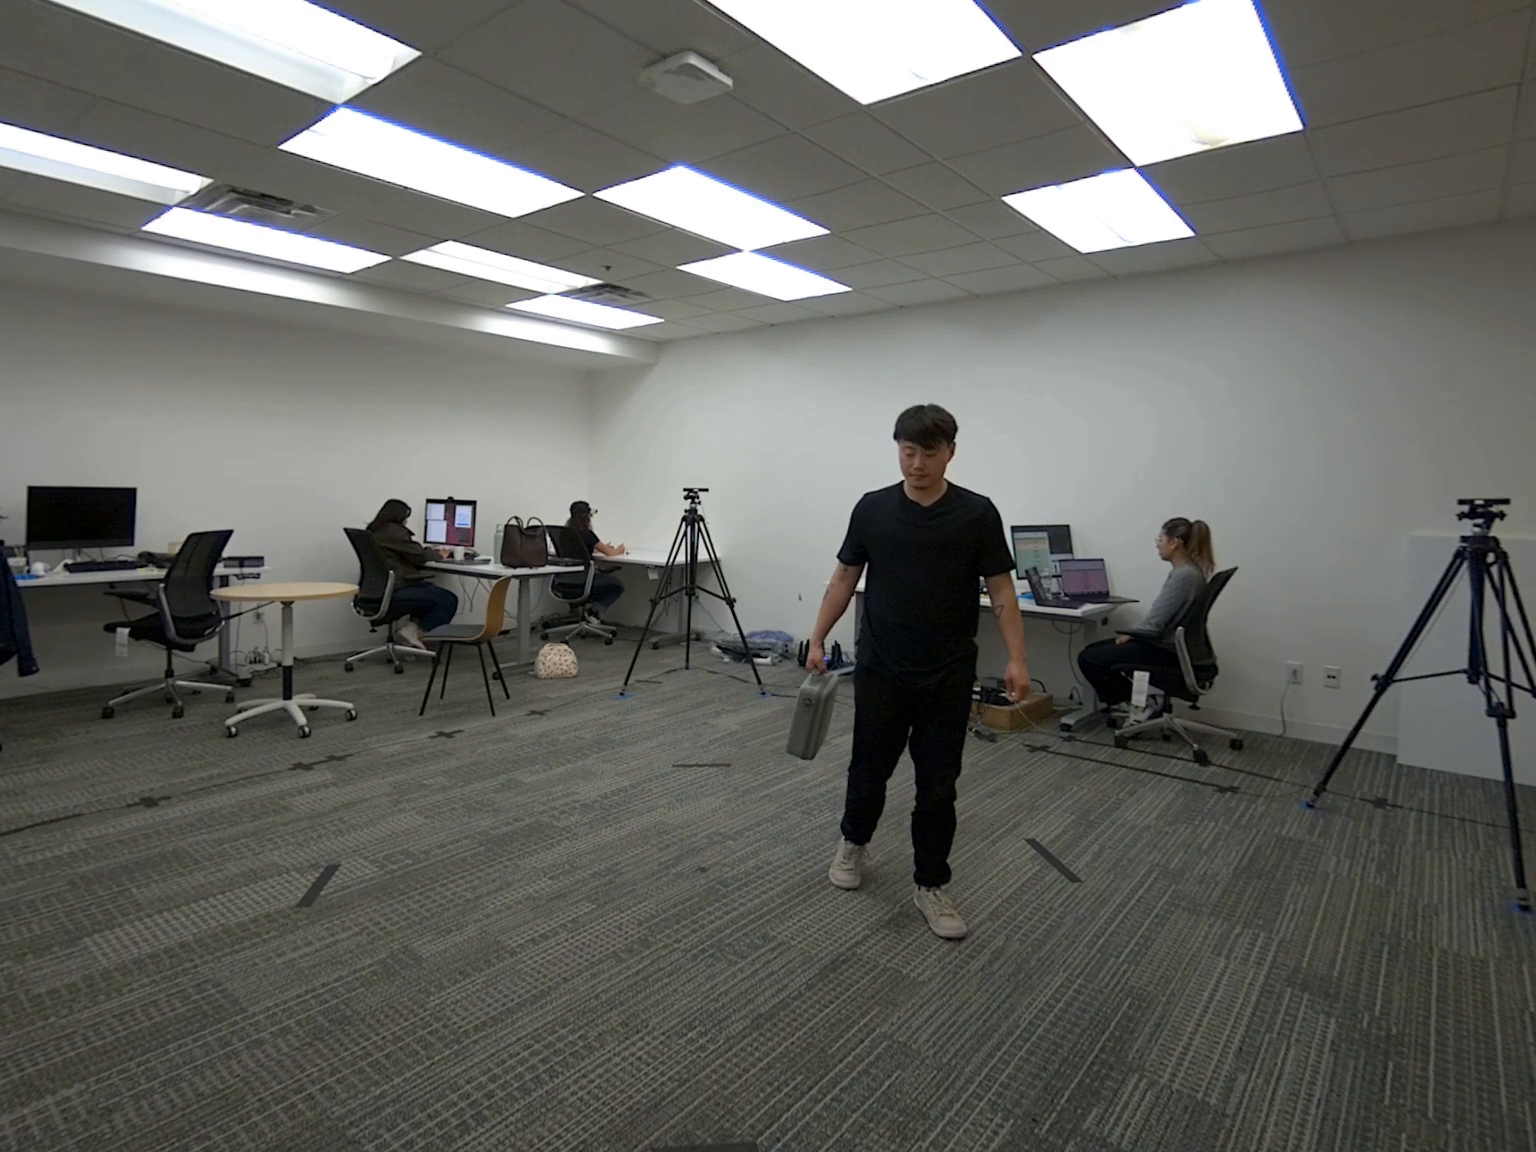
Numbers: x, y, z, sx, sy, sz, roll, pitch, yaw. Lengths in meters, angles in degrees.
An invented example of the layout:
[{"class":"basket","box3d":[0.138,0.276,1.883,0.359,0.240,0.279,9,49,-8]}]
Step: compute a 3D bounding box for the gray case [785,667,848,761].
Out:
[{"class":"gray case","box3d":[0.153,0.468,2.924,0.106,0.259,0.254,11,8,14]}]
